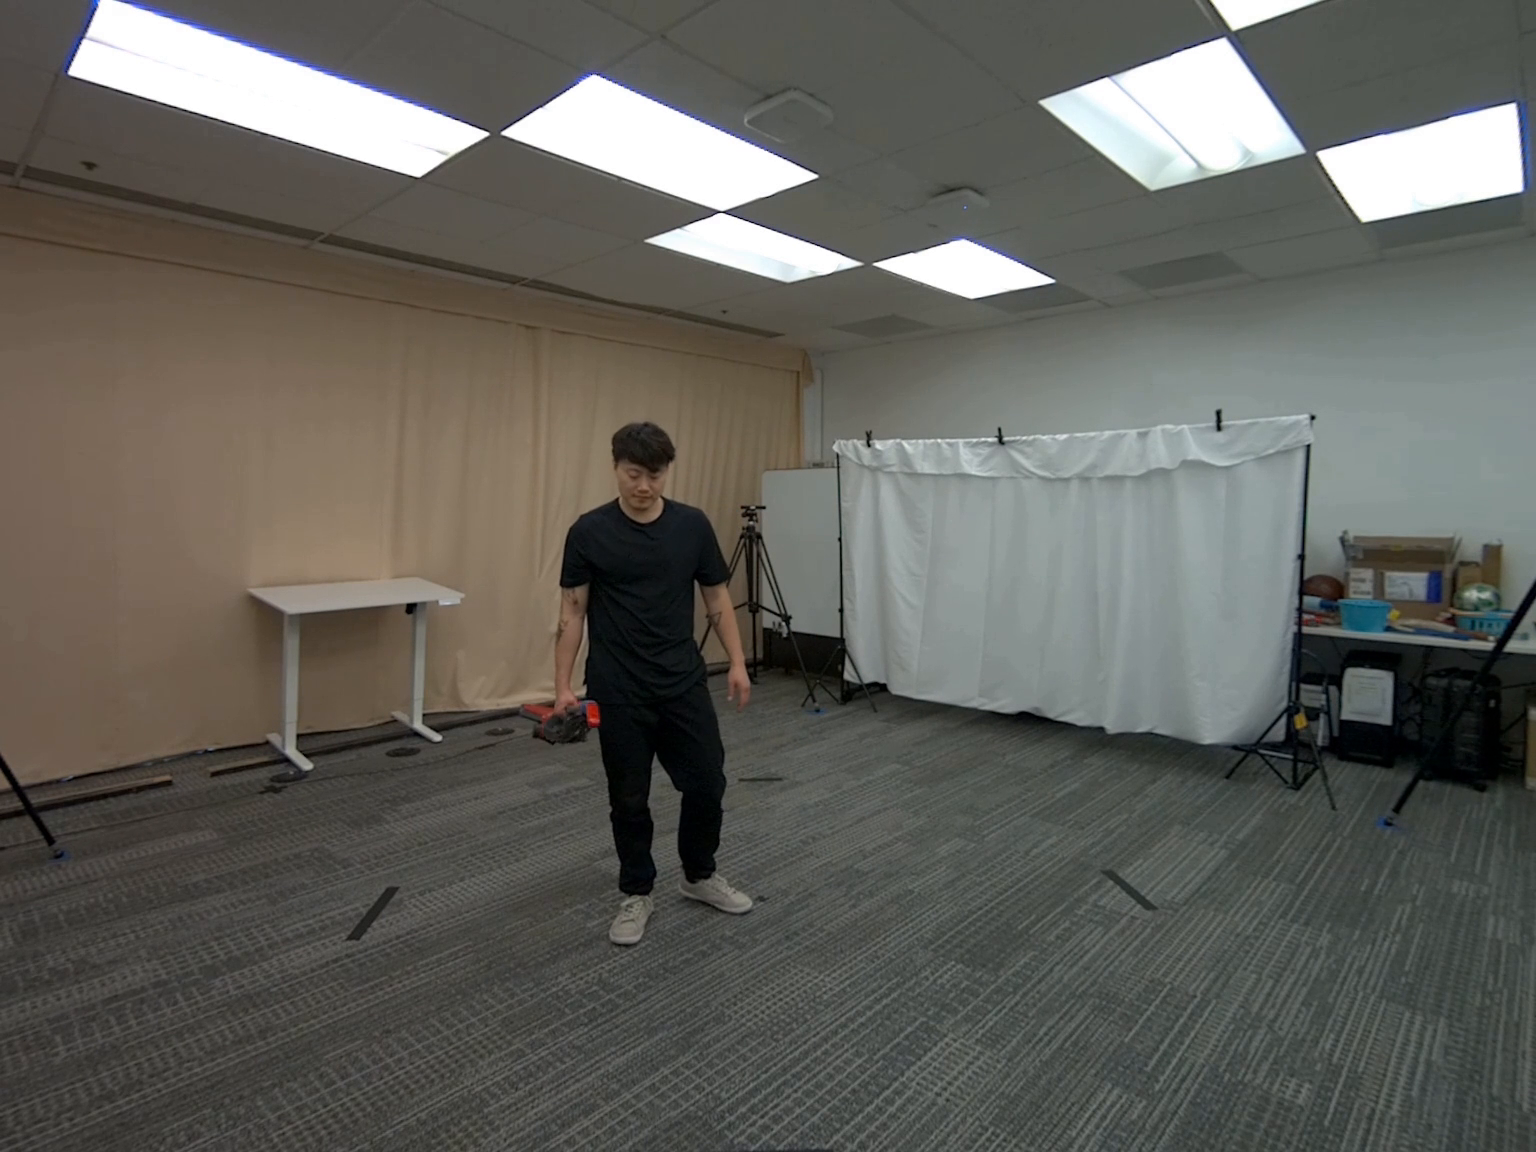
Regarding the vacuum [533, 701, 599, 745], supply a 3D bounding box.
[{"bbox_3d":[-0.610,0.458,2.611,0.248,0.144,1.061,21,-17,-15],"label":"vacuum"}]
